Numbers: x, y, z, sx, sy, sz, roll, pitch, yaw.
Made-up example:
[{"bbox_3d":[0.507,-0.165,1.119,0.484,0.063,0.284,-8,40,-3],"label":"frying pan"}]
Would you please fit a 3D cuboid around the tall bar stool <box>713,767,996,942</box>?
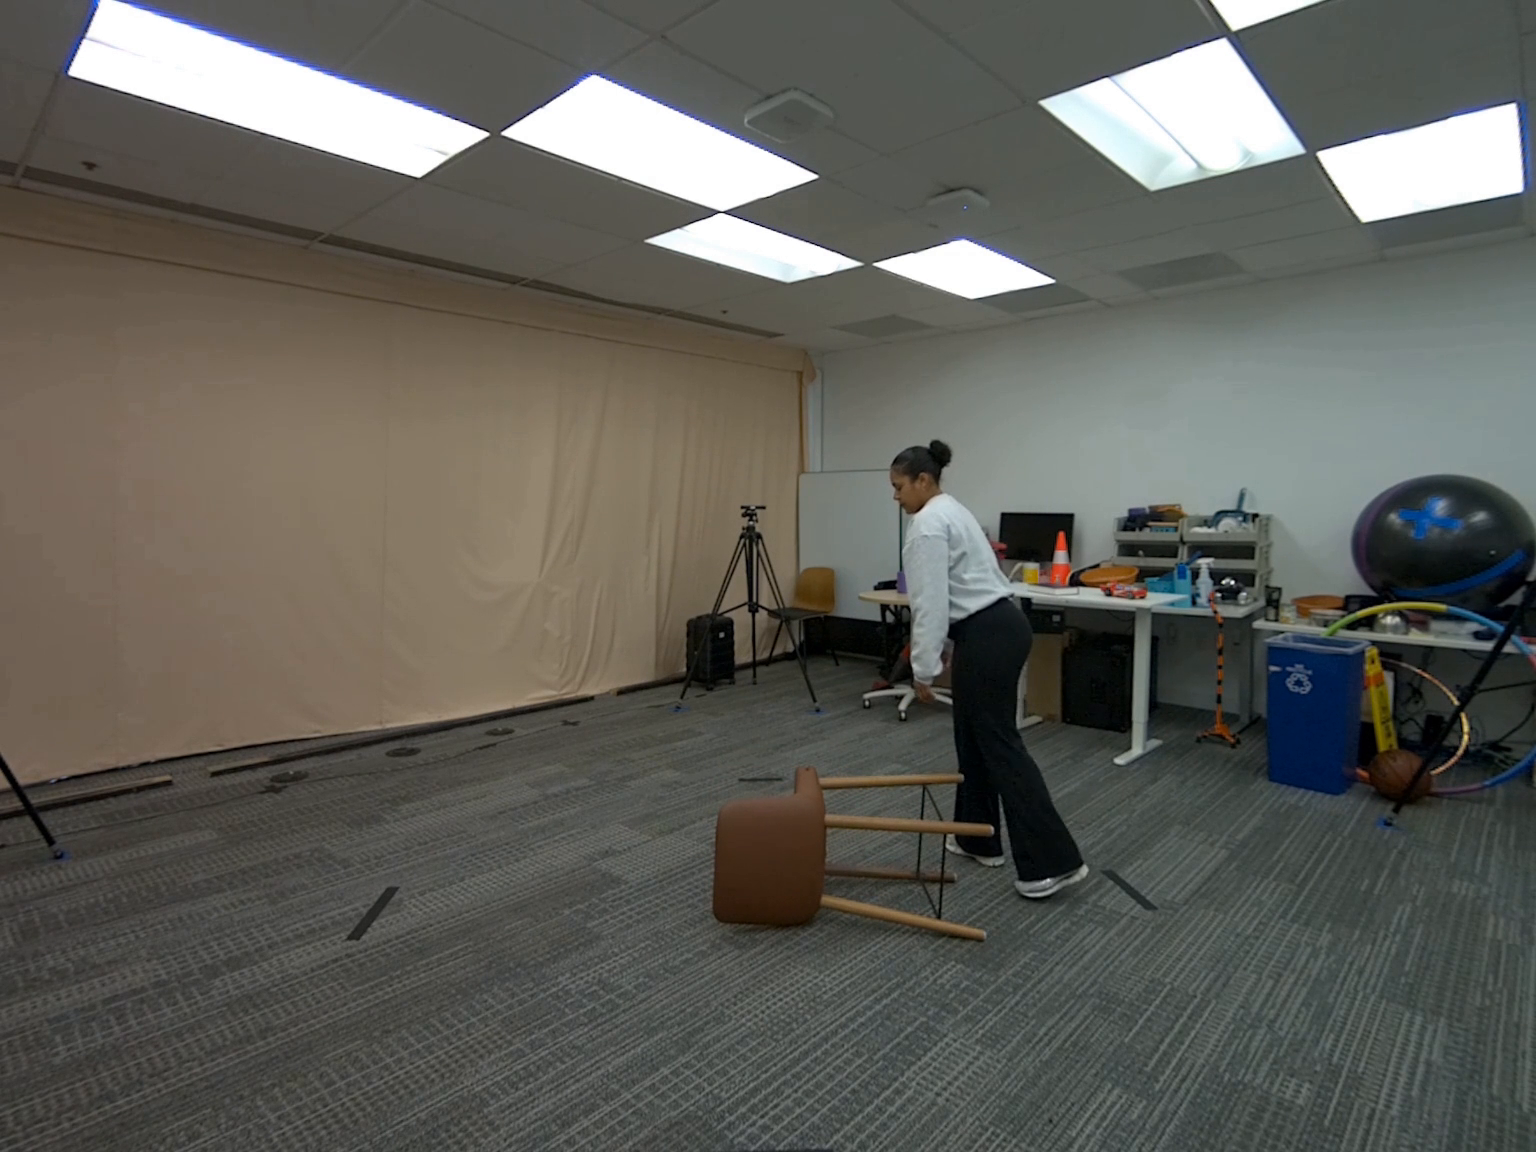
[{"bbox_3d":[0.270,0.937,2.906,0.891,0.455,0.468,2,6,1],"label":"tall bar stool"}]
